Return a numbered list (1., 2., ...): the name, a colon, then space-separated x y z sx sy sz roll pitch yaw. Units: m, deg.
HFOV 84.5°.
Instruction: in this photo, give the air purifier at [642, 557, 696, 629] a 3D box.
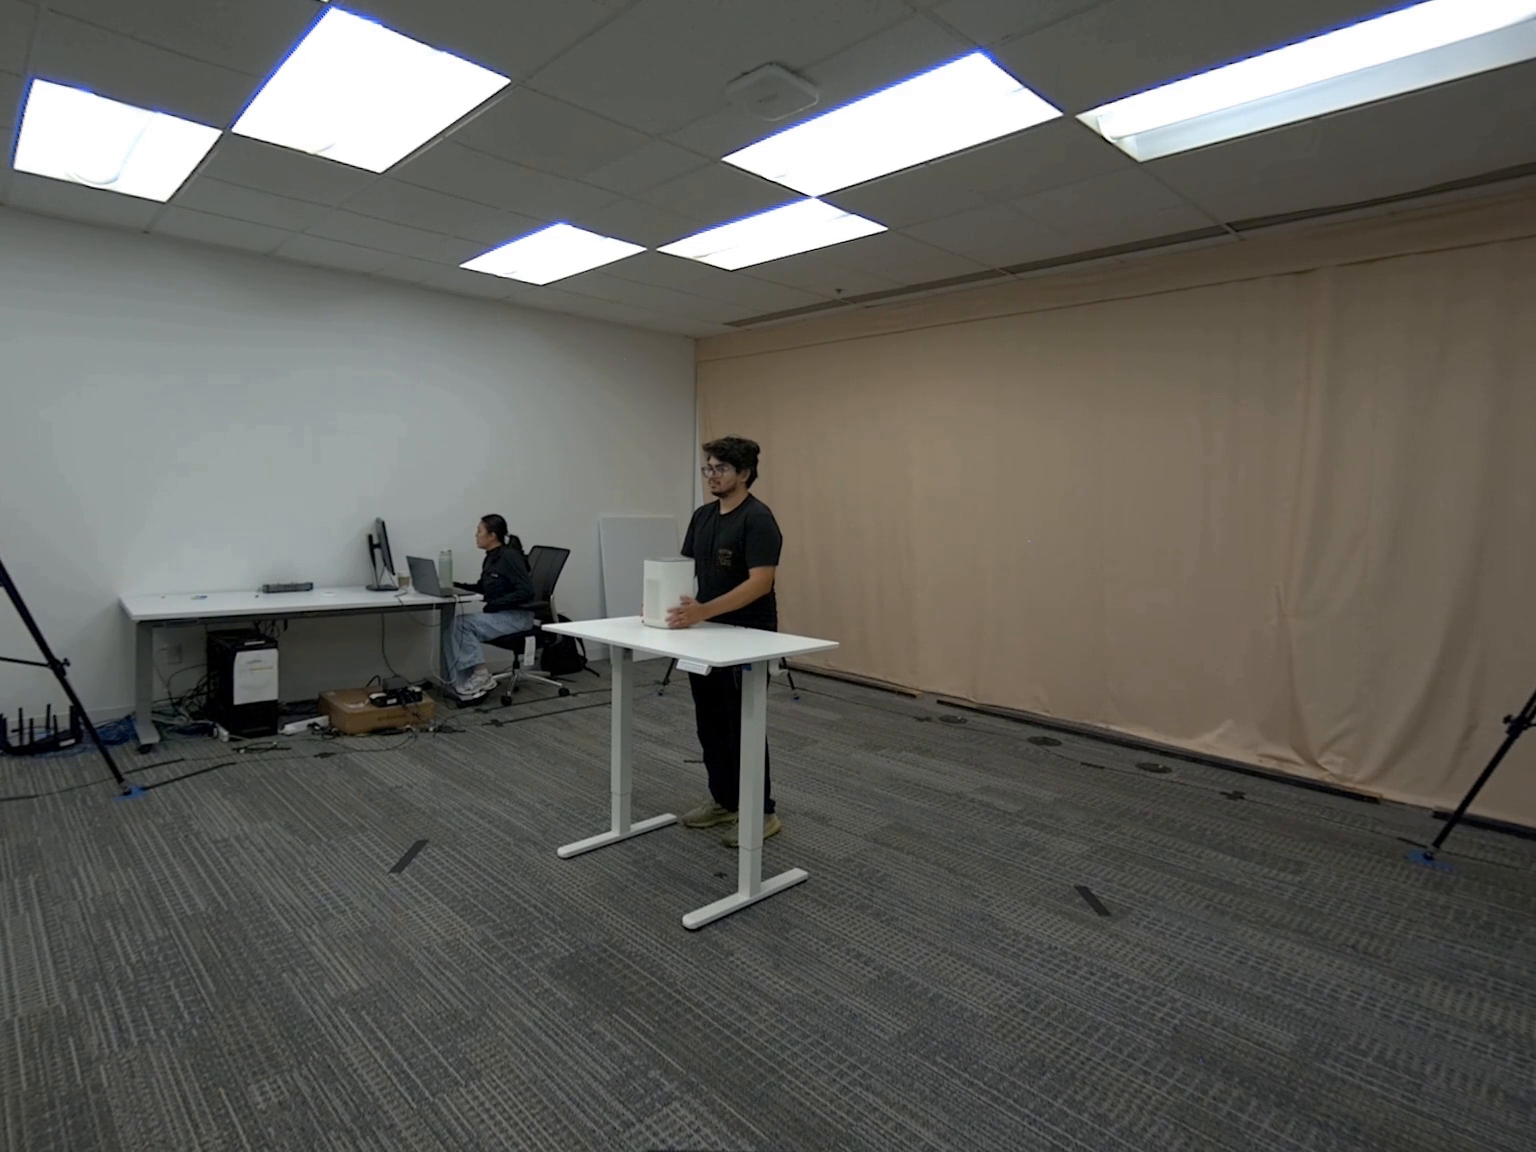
1. air purifier: -0.400 0.063 3.305 0.176 0.265 0.167 4 4 45
